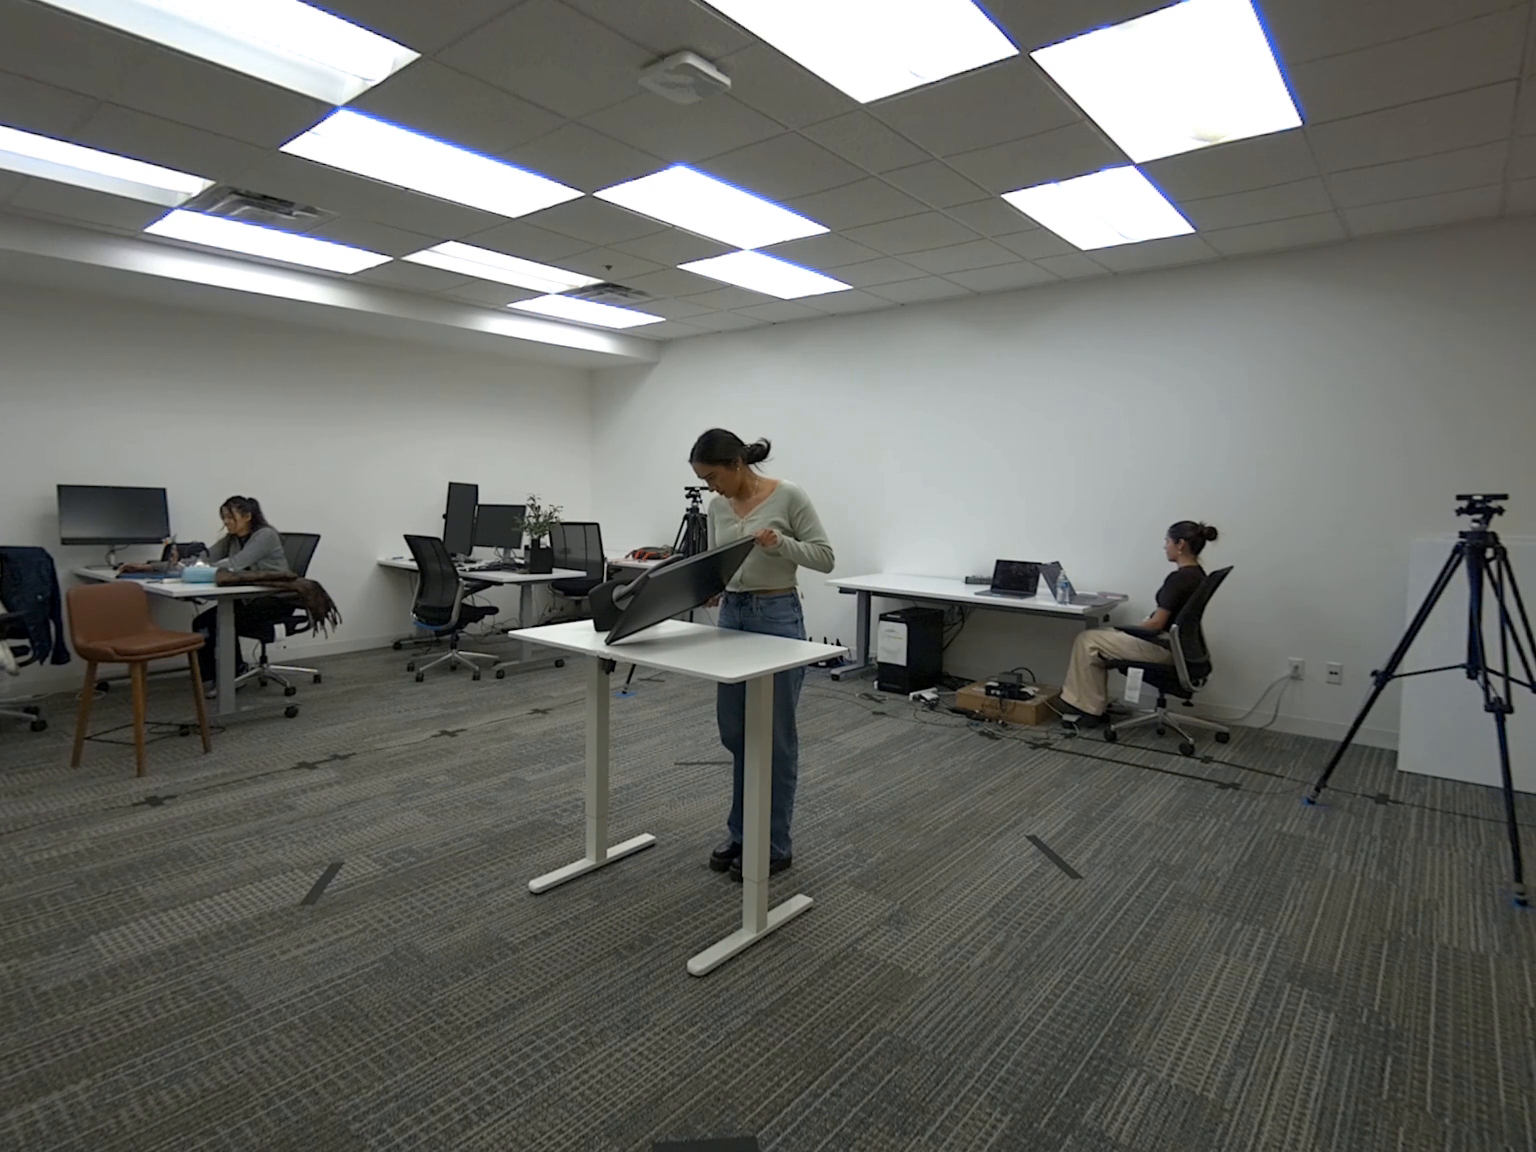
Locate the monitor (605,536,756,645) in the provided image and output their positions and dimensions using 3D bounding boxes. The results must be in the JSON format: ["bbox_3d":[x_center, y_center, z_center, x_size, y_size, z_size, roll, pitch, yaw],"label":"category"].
[{"bbox_3d":[-0.389,0.042,2.857,0.529,0.188,0.530,-28,-1,41],"label":"monitor"}]
